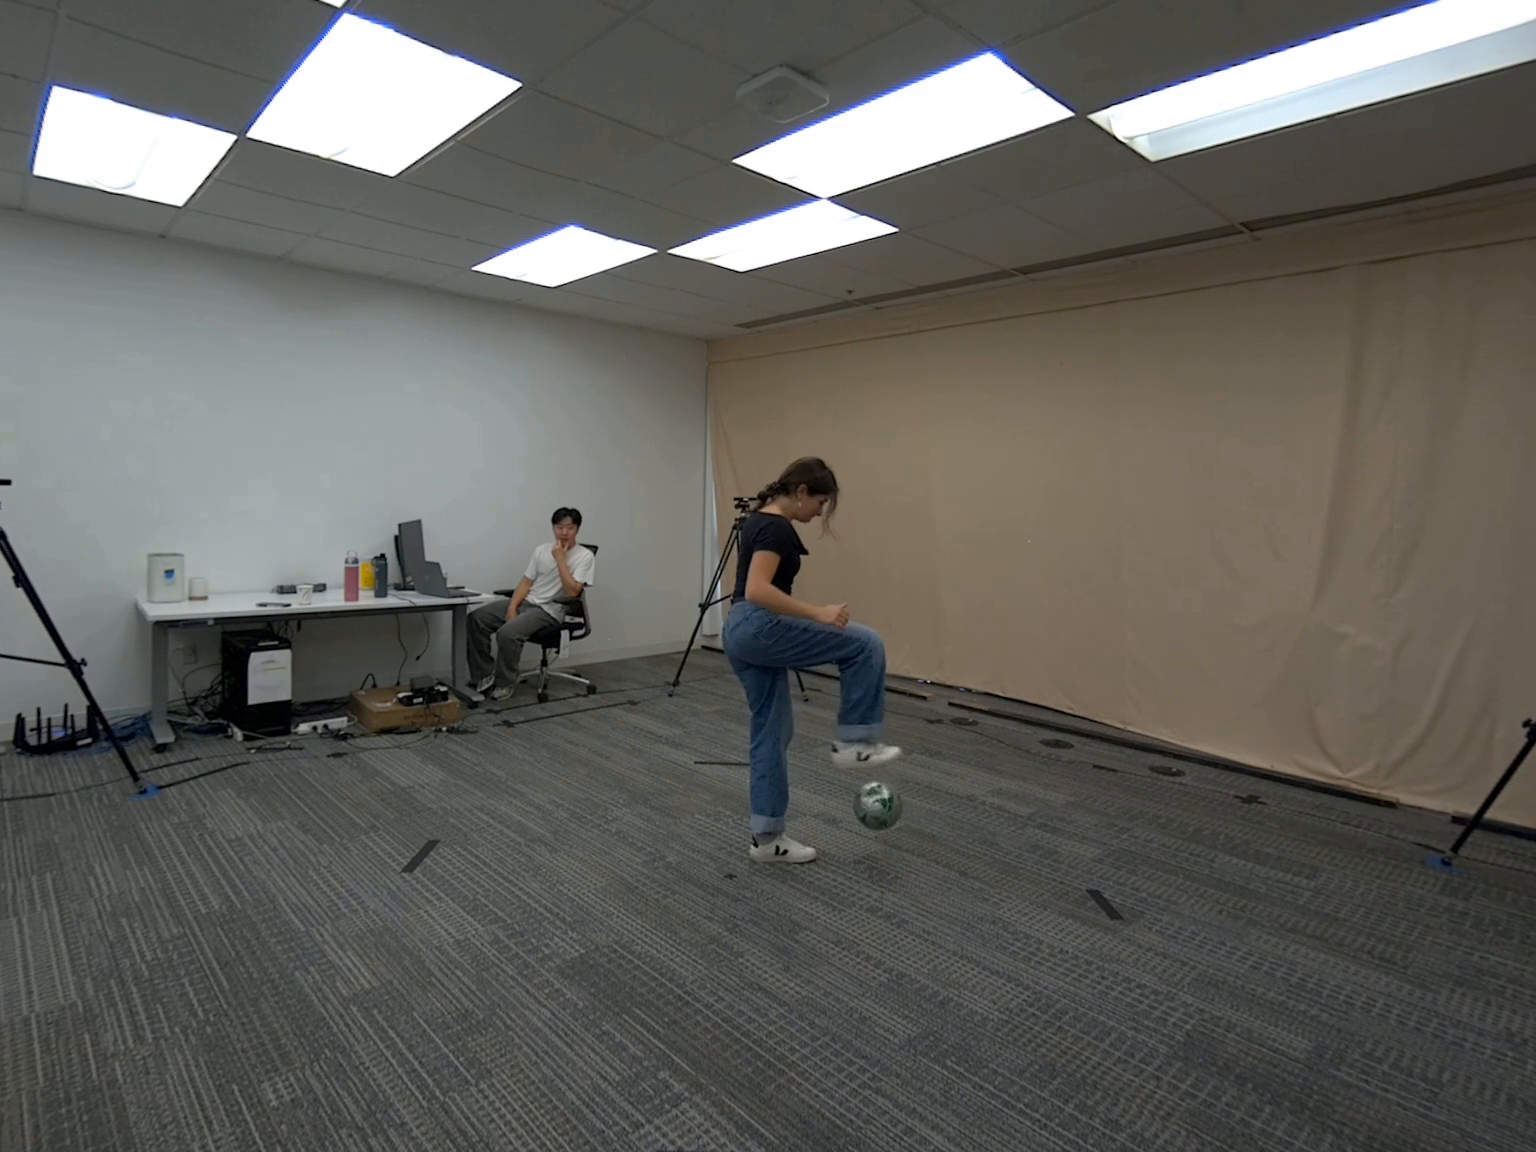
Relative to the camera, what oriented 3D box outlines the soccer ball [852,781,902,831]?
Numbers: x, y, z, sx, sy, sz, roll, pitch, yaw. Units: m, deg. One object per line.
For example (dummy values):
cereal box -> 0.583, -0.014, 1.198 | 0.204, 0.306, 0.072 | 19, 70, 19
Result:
soccer ball -> 0.404, 0.898, 3.220 | 0.187, 0.187, 0.188 | 1, 4, -1
